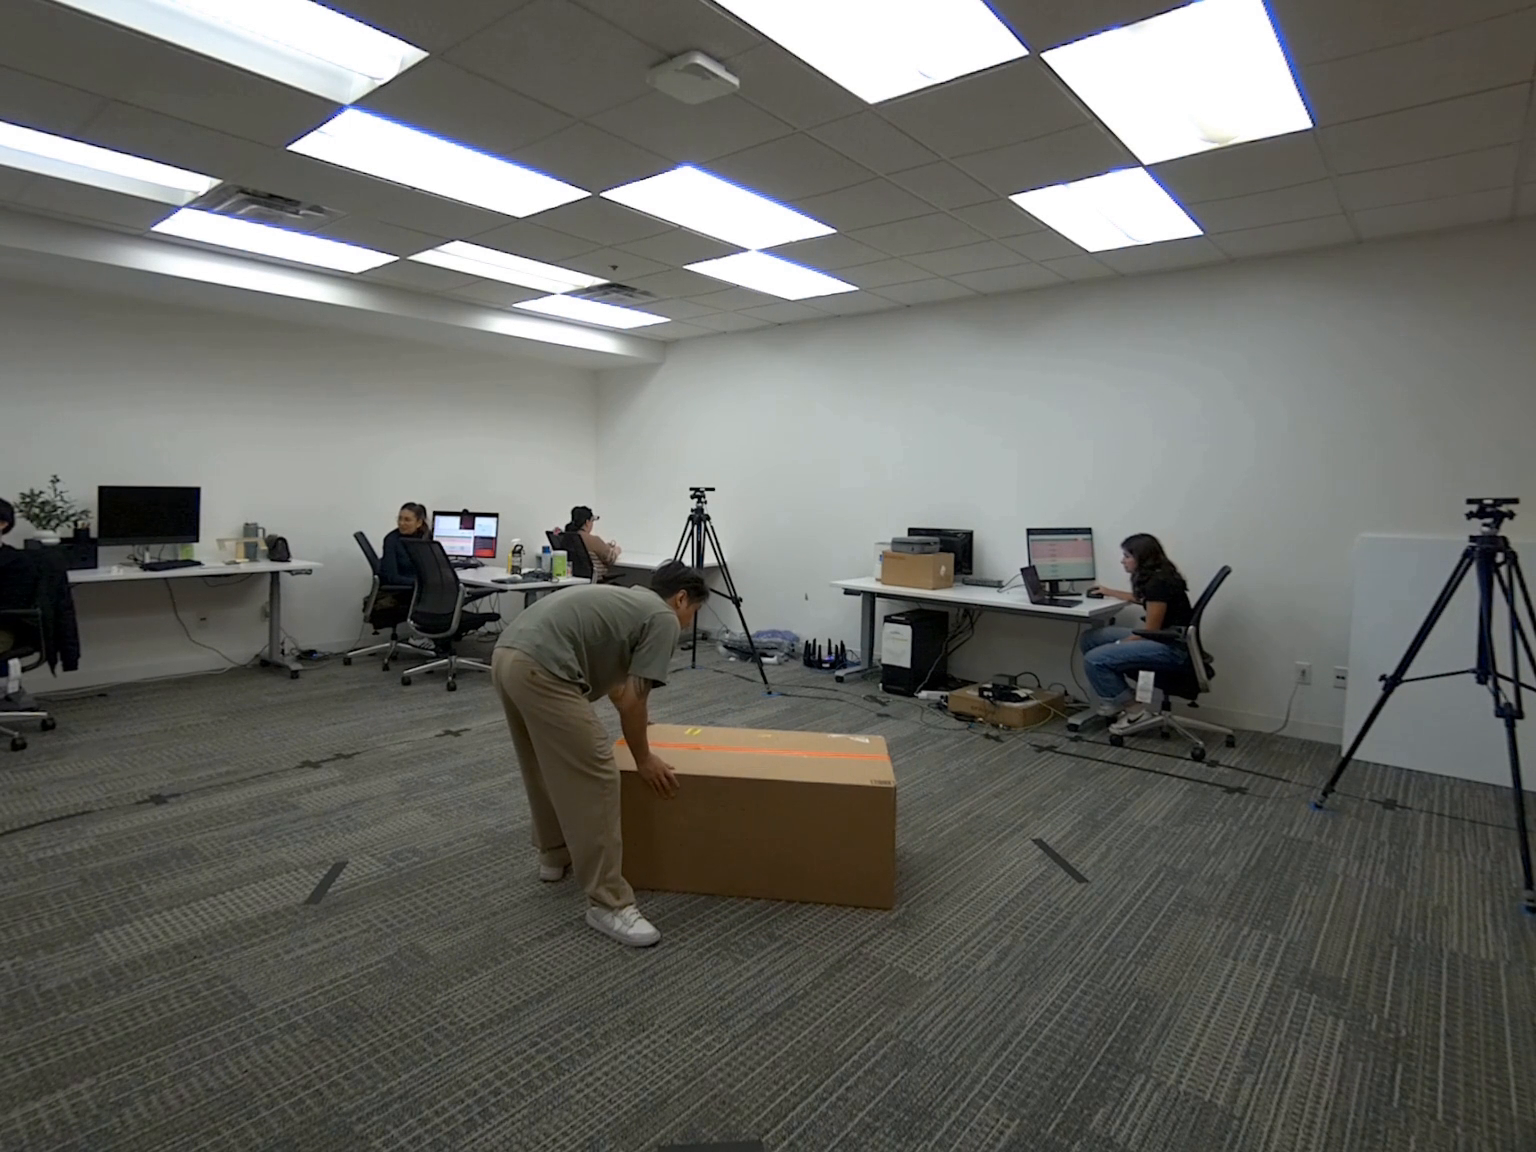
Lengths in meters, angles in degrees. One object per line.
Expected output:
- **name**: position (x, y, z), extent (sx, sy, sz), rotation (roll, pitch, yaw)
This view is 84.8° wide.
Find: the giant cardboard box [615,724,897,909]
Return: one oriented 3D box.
- **giant cardboard box**: position (-0.072, 0.848, 3.162), extent (1.033, 0.424, 0.577), rotation (1, 6, 5)
